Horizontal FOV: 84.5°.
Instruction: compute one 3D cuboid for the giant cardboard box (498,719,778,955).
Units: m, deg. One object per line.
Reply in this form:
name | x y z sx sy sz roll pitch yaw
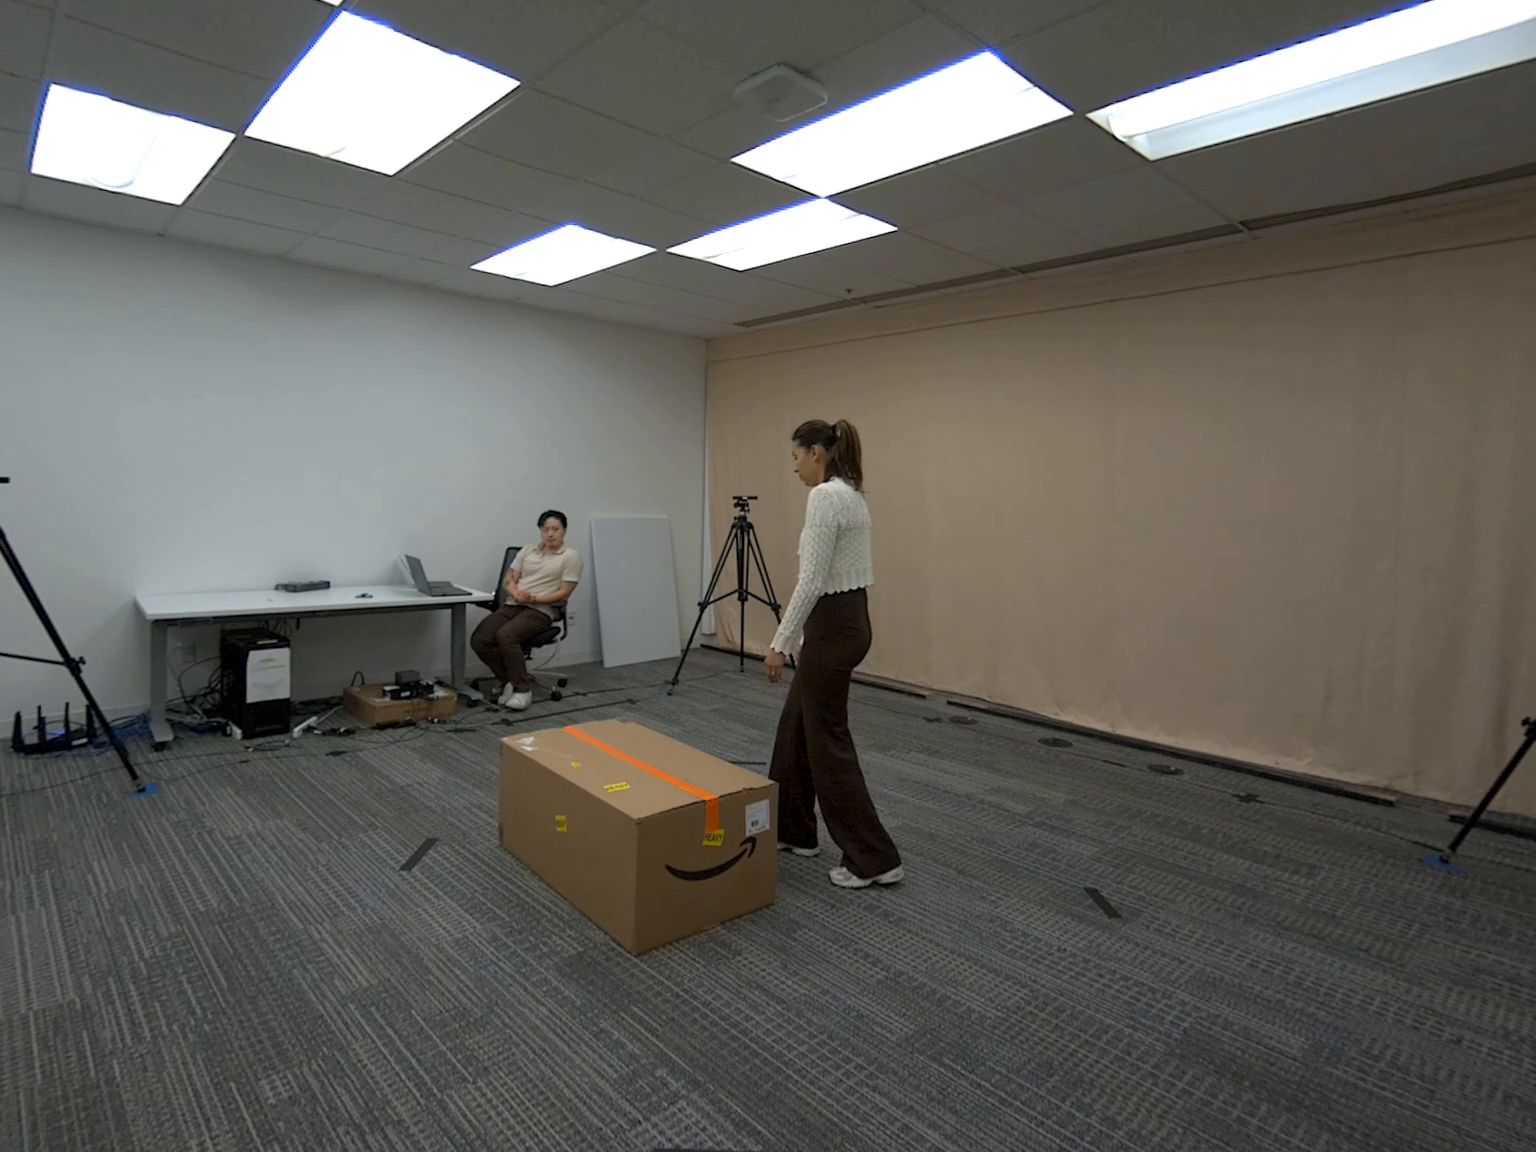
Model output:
giant cardboard box | -0.521 0.881 3.096 0.565 0.425 1.052 -3 7 -40
